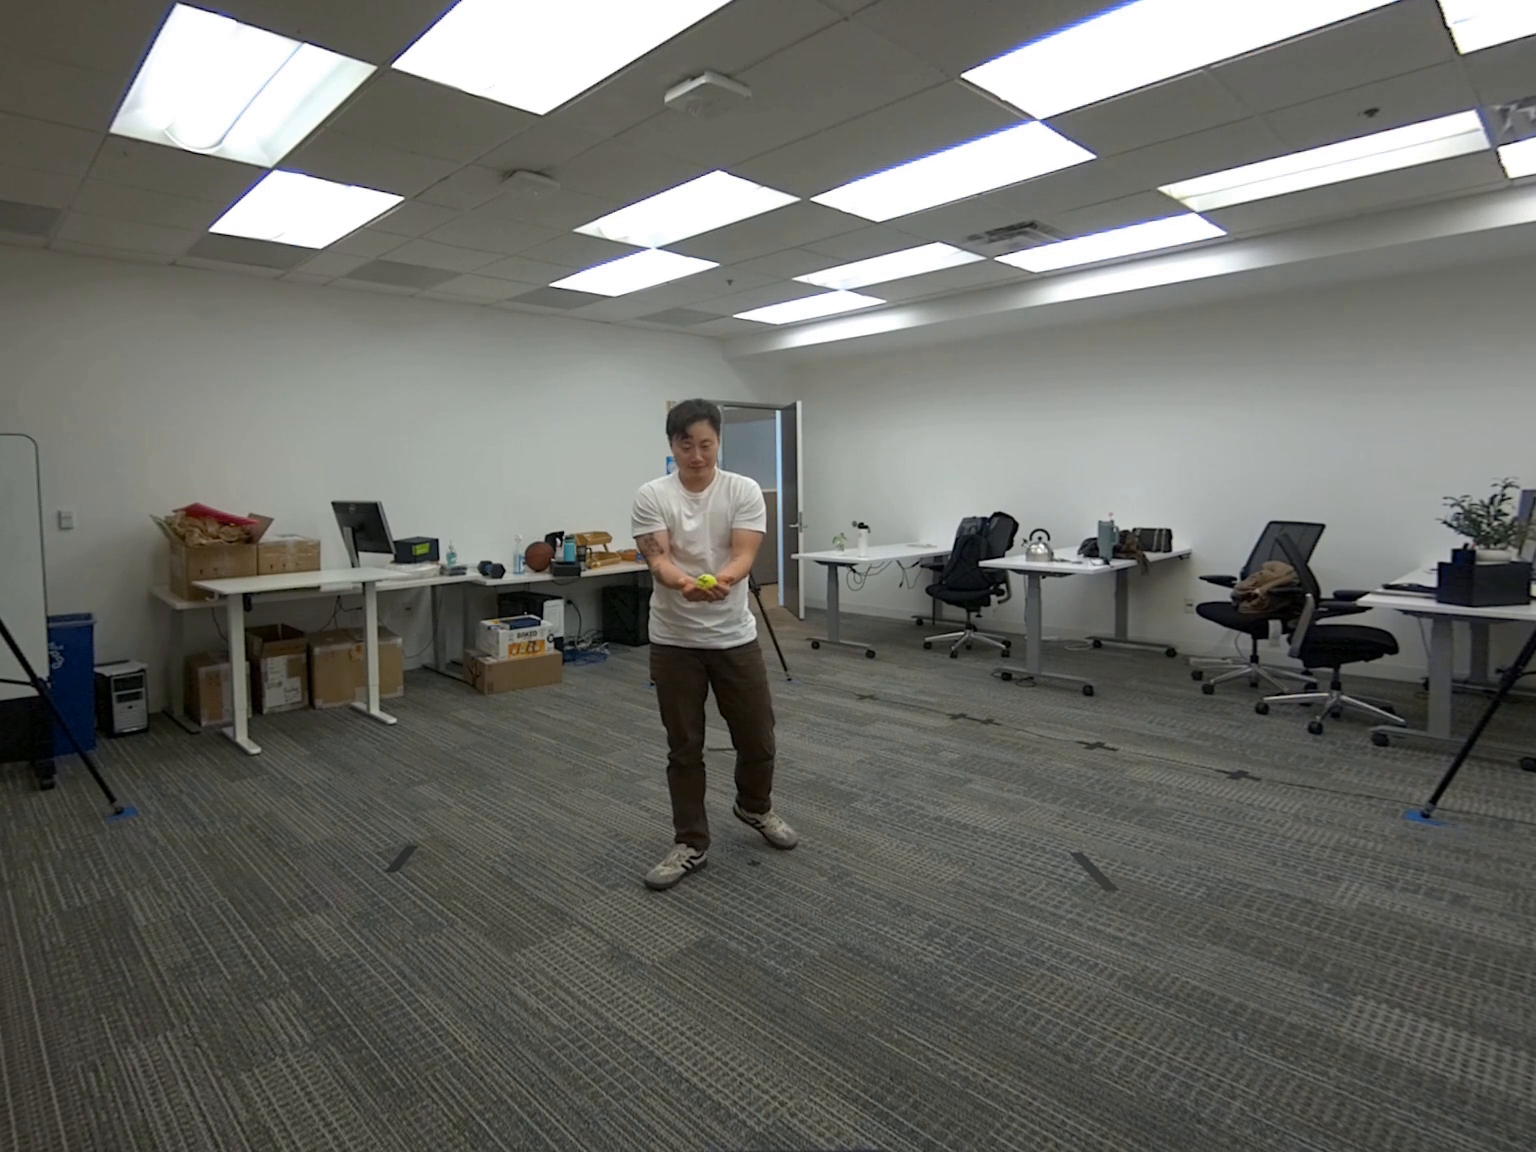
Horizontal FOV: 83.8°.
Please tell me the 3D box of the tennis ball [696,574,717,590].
[{"bbox_3d":[-0.174,0.024,2.647,0.066,0.066,0.067,-1,5,-2],"label":"tennis ball"}]
